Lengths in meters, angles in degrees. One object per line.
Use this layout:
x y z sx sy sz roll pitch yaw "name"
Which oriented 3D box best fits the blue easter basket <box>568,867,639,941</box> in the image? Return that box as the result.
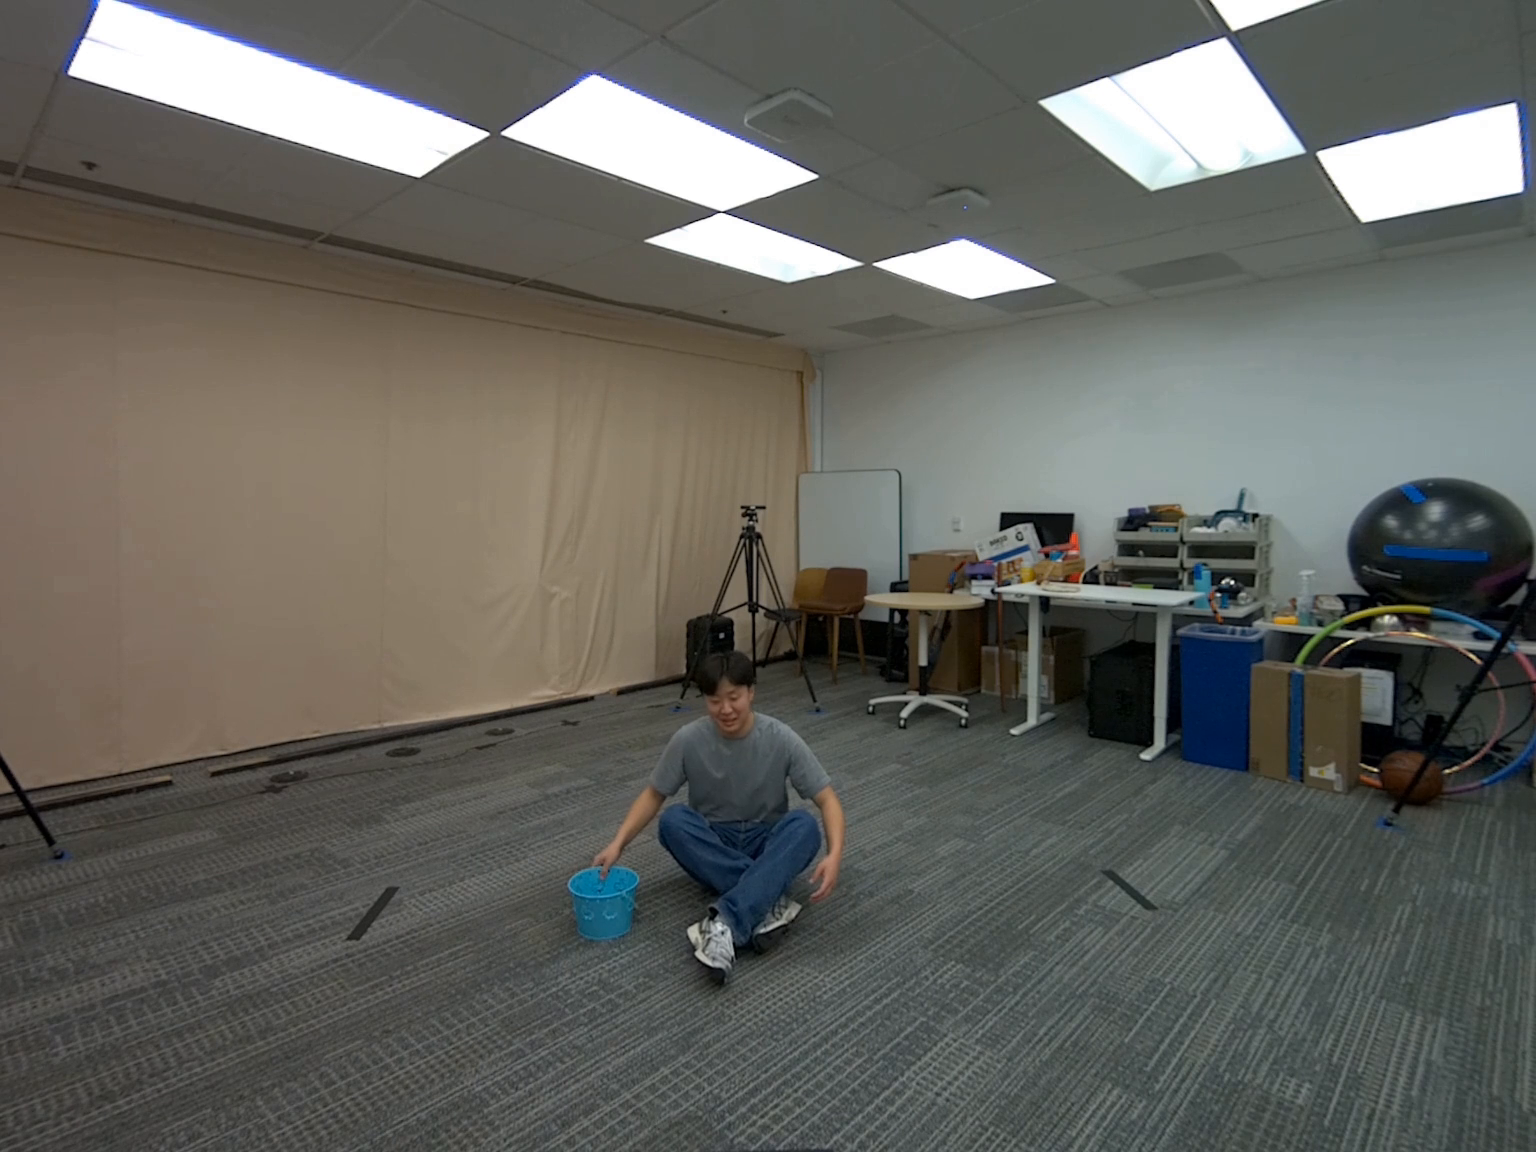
-0.542 1.080 2.792 0.243 0.155 0.244 -2 5 -2 "blue easter basket"
